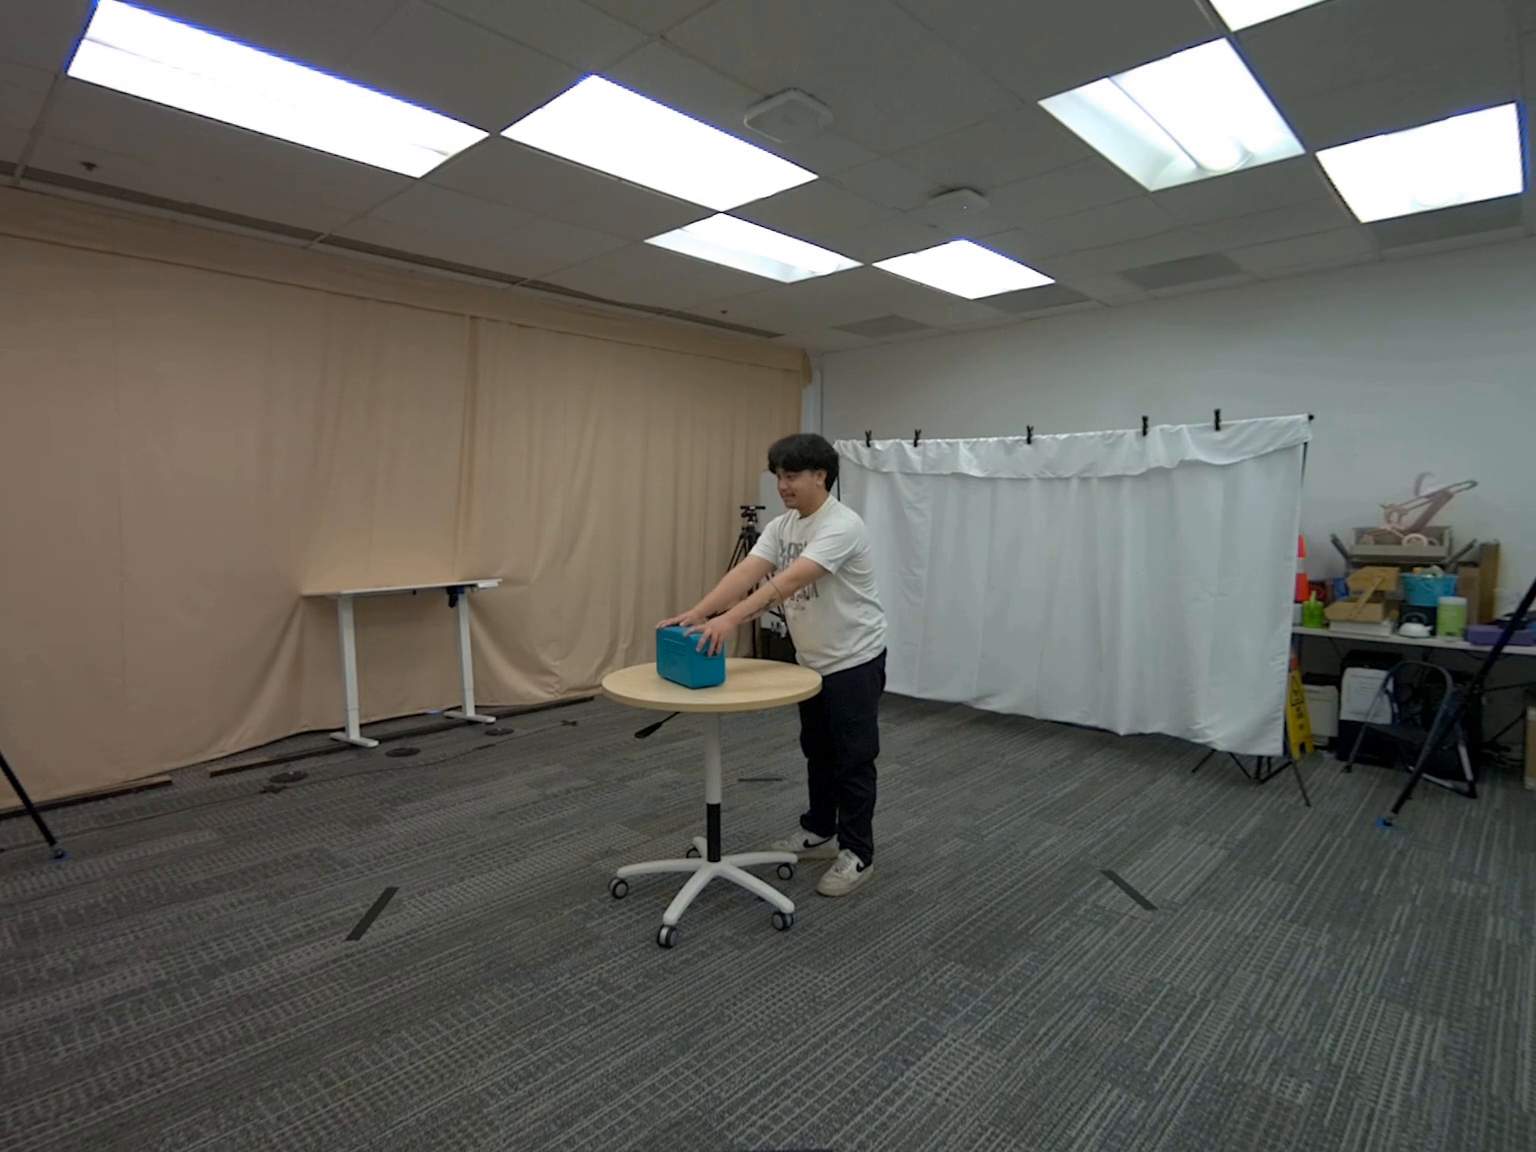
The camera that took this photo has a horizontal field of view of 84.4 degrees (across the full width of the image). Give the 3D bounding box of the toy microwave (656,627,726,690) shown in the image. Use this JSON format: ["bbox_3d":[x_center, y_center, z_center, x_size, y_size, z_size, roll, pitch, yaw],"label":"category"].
[{"bbox_3d":[-0.257,0.271,2.893,0.148,0.184,0.294,-2,4,-31],"label":"toy microwave"}]
